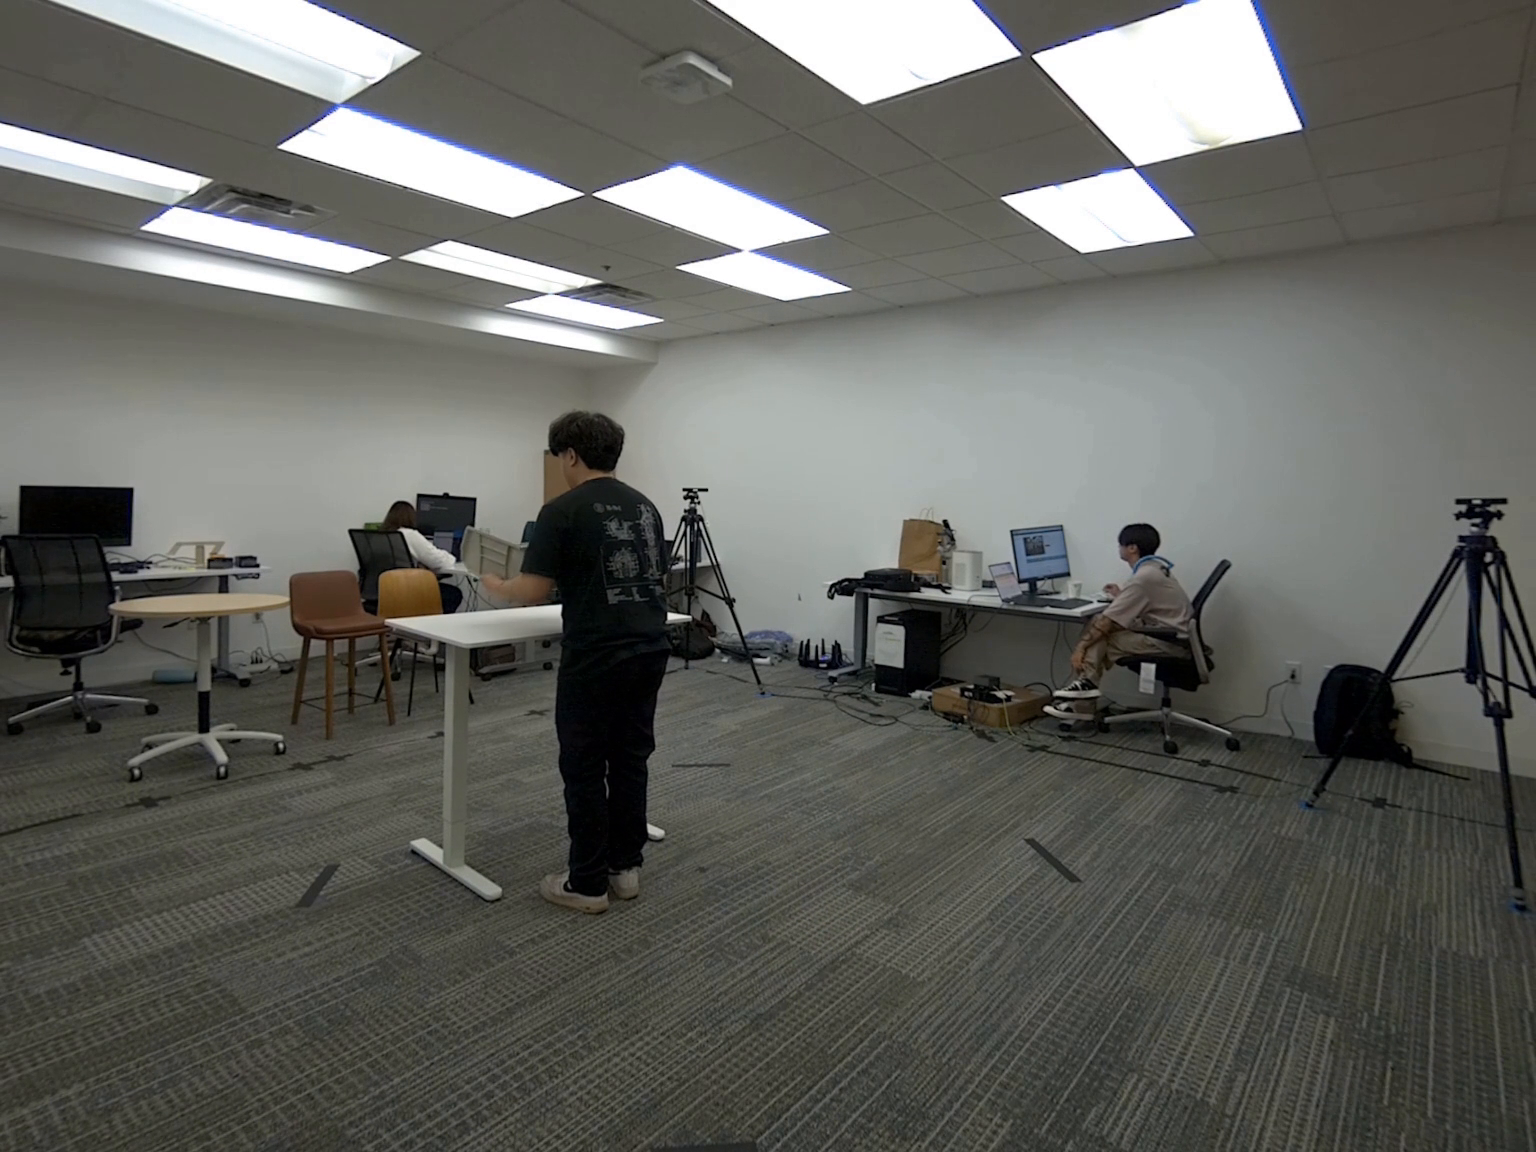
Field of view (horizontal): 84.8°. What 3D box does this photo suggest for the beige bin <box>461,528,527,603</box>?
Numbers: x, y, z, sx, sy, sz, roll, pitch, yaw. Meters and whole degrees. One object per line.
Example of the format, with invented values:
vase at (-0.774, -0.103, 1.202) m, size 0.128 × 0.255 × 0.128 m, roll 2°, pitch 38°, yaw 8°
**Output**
beige bin at (-0.861, -0.074, 3.148) m, size 0.392 × 0.187 × 0.410 m, roll 18°, pitch 15°, yaw 37°
